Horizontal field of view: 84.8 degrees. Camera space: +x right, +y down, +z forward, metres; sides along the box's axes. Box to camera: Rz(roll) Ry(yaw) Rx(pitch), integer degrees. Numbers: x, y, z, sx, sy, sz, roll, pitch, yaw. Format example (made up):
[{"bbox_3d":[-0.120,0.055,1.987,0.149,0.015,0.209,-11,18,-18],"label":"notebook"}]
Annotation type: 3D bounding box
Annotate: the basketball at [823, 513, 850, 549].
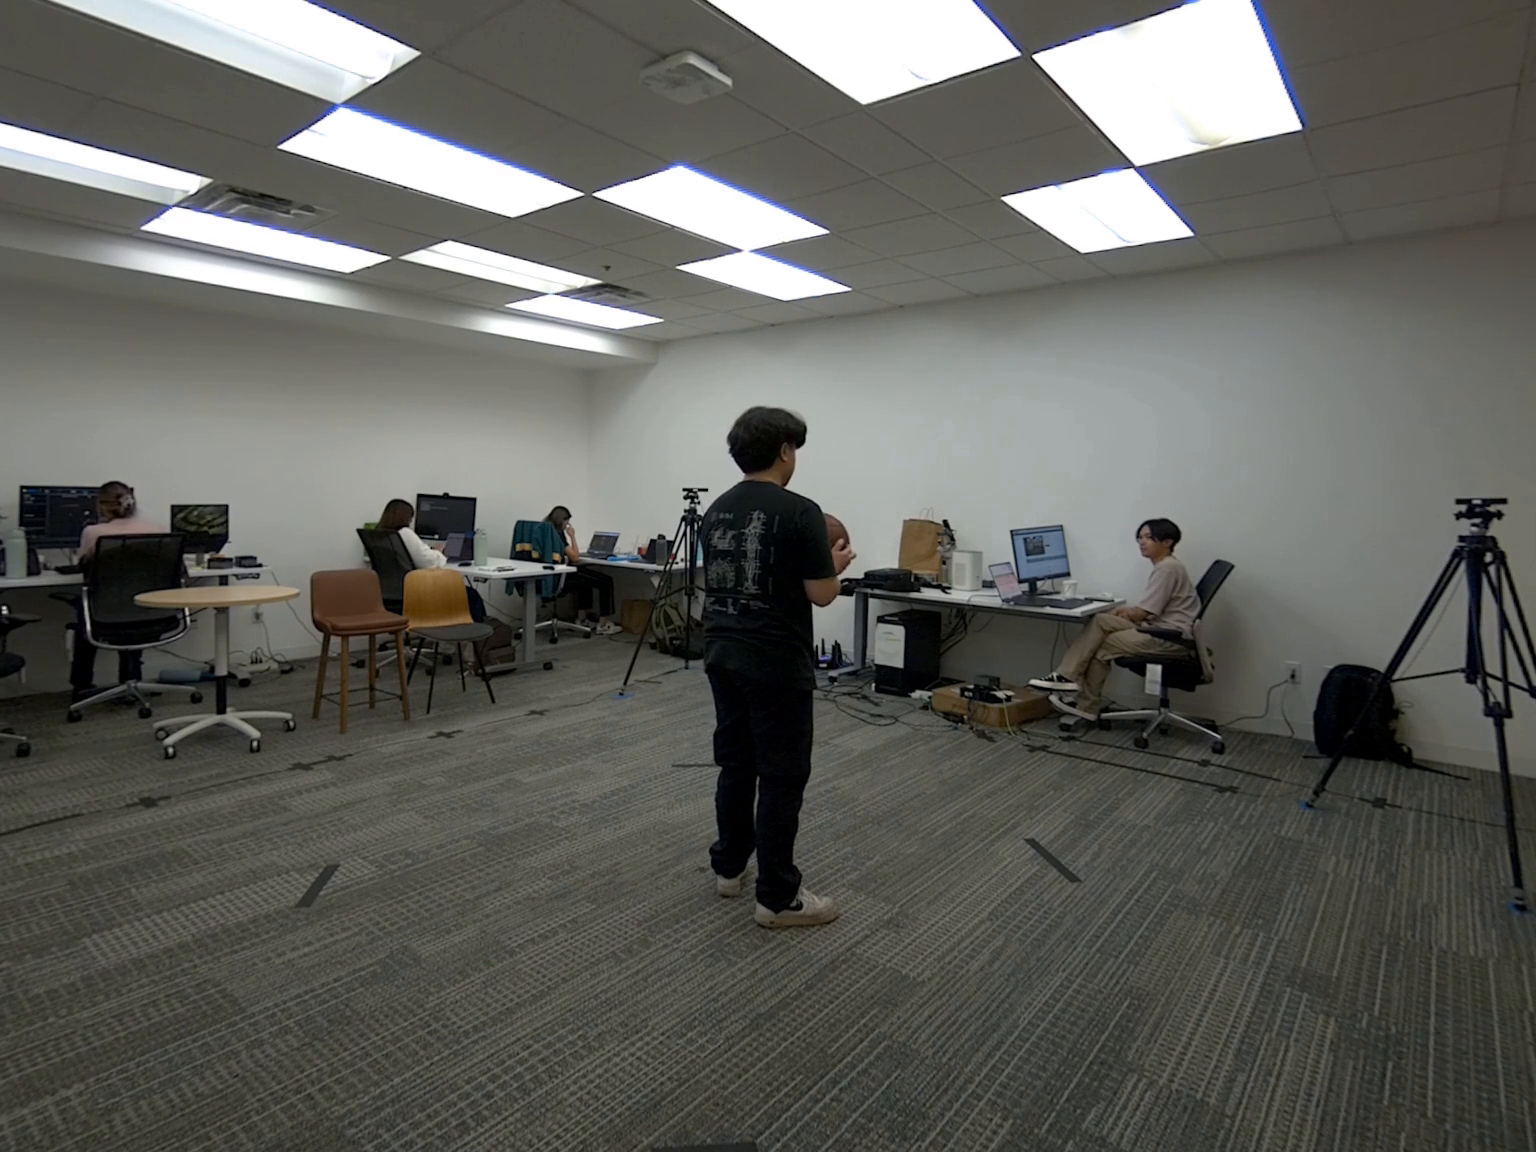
[{"bbox_3d":[0.163,-0.114,3.074,0.235,0.235,0.237,1,4,-2],"label":"basketball"}]
